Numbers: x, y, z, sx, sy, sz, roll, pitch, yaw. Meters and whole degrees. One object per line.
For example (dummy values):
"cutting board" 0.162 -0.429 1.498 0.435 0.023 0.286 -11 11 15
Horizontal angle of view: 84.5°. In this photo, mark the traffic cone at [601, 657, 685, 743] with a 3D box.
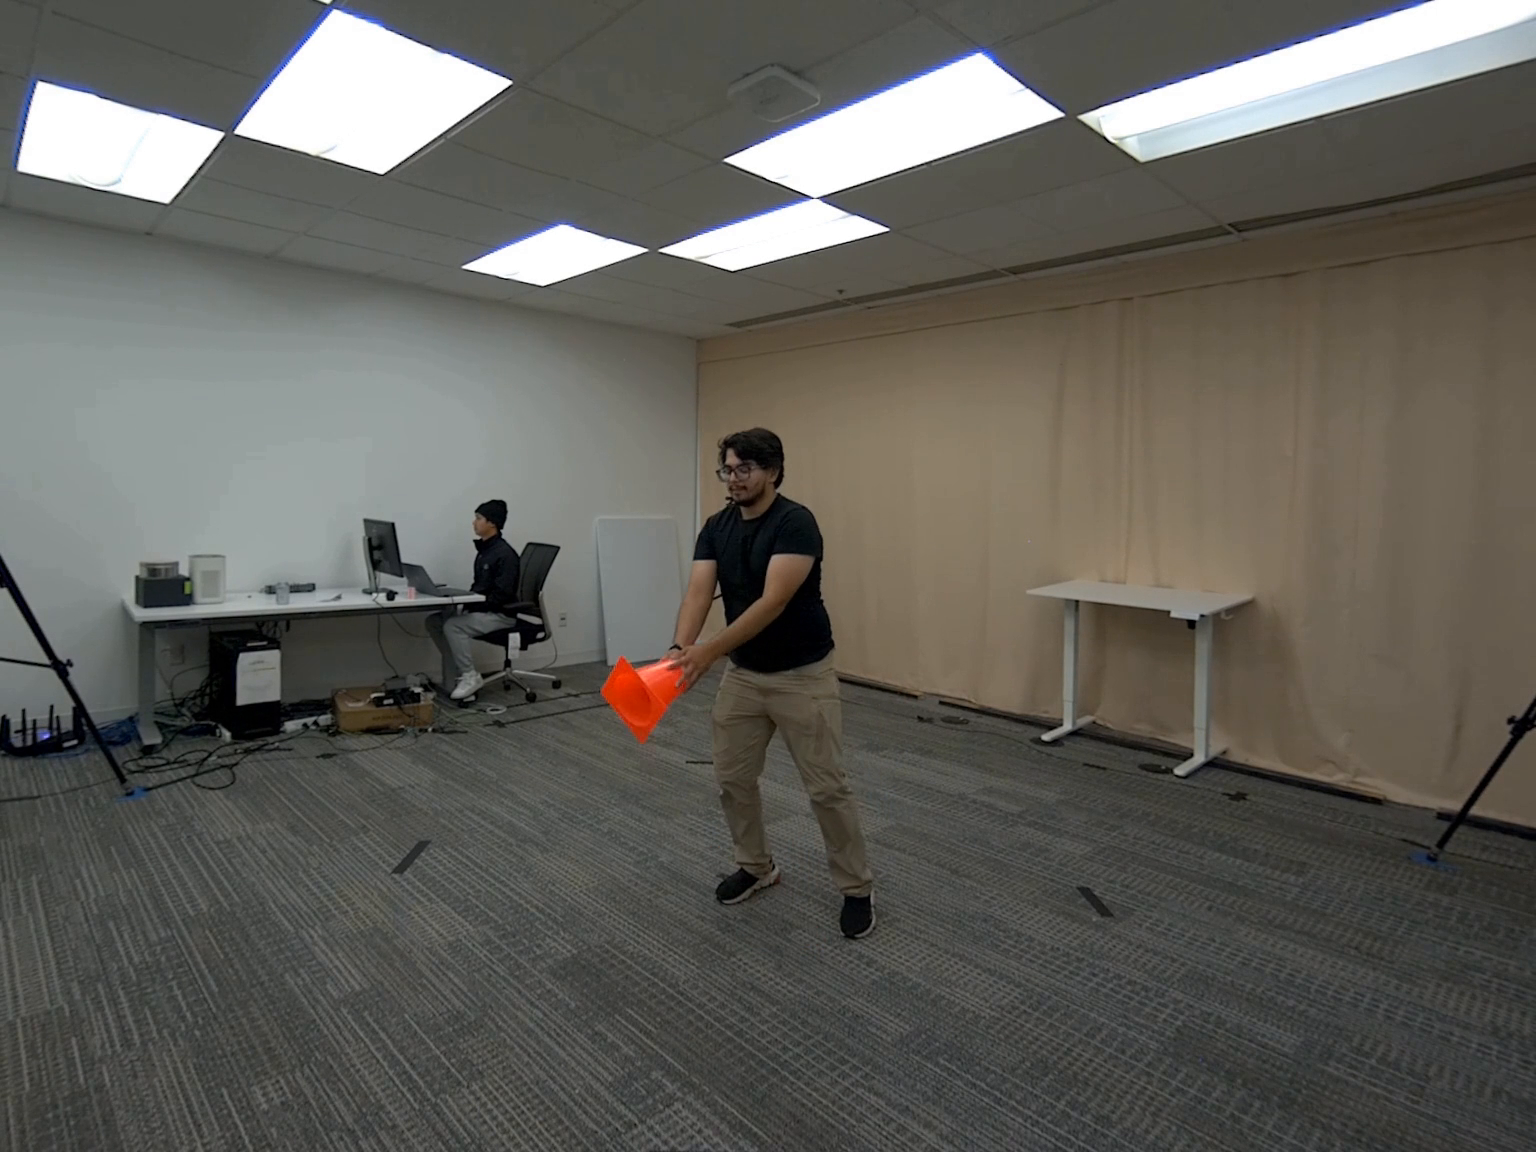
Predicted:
"traffic cone" -0.261 0.308 2.474 0.209 0.202 0.379 47 43 17
